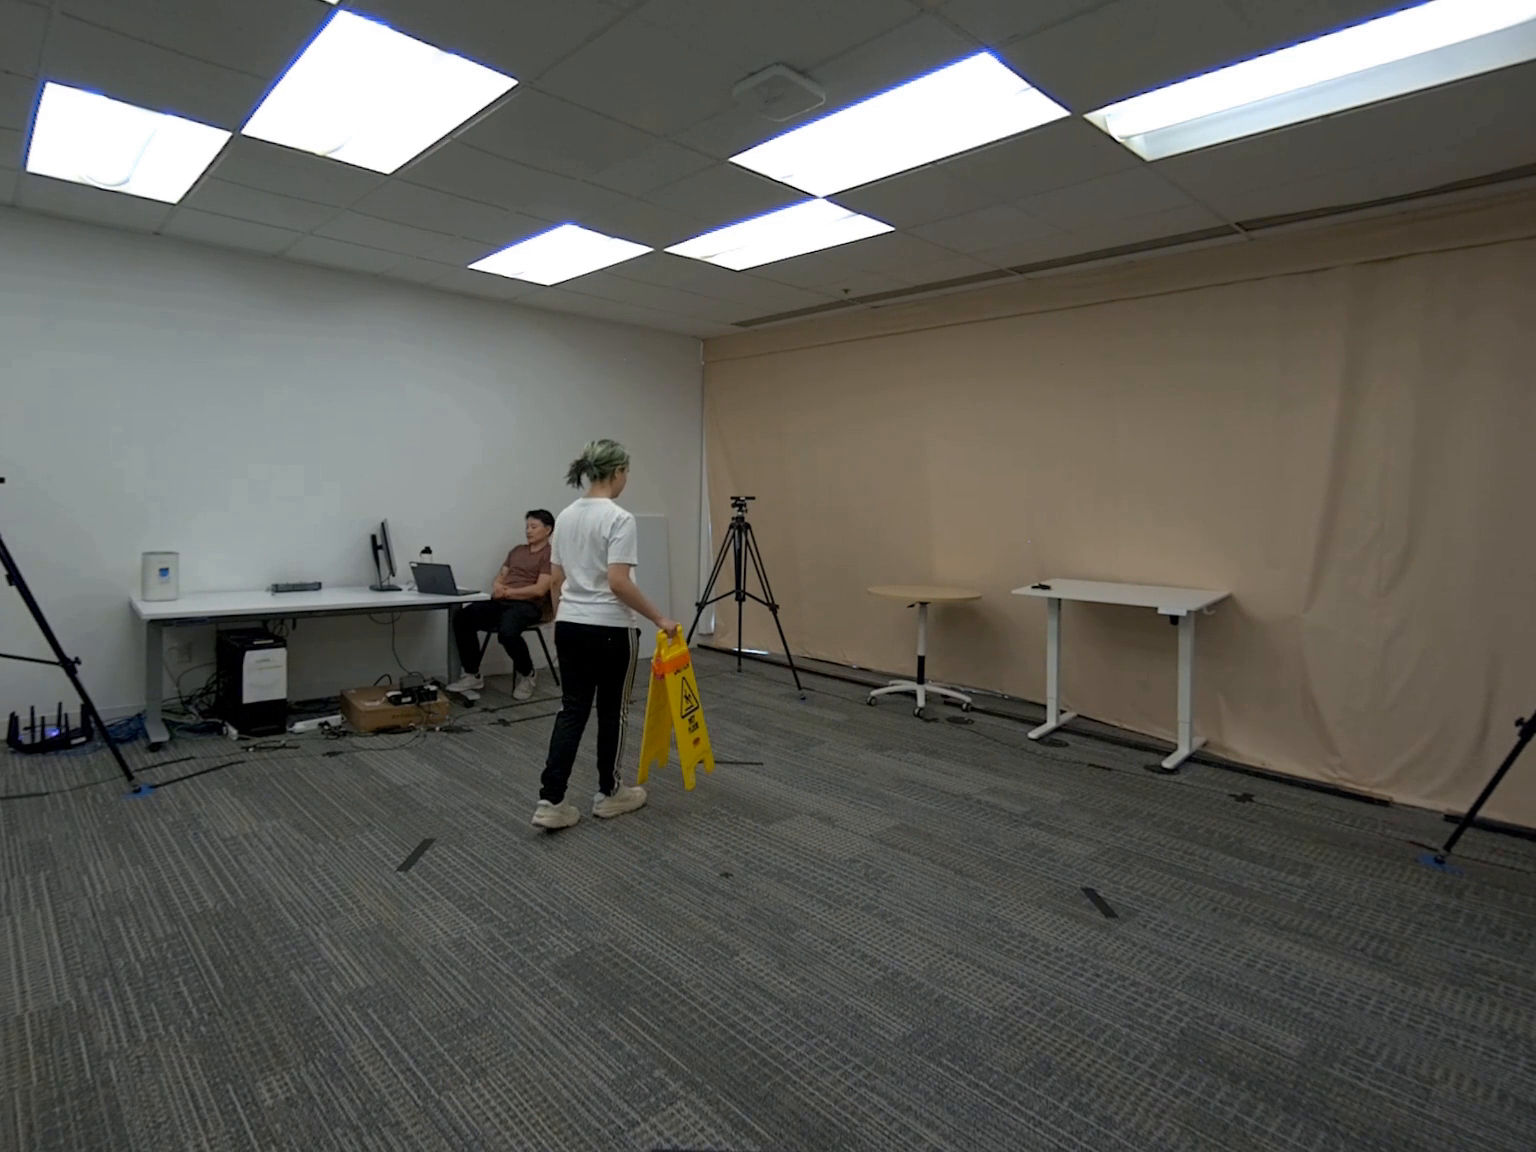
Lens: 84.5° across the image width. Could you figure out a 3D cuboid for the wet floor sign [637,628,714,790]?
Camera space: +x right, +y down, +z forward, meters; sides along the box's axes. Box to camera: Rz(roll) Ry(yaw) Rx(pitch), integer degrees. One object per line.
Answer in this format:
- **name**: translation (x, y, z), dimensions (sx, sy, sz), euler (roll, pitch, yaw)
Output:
- **wet floor sign**: translation (-0.411, 0.538, 3.573), dimensions (0.294, 0.642, 0.279), euler (2, 8, 20)
